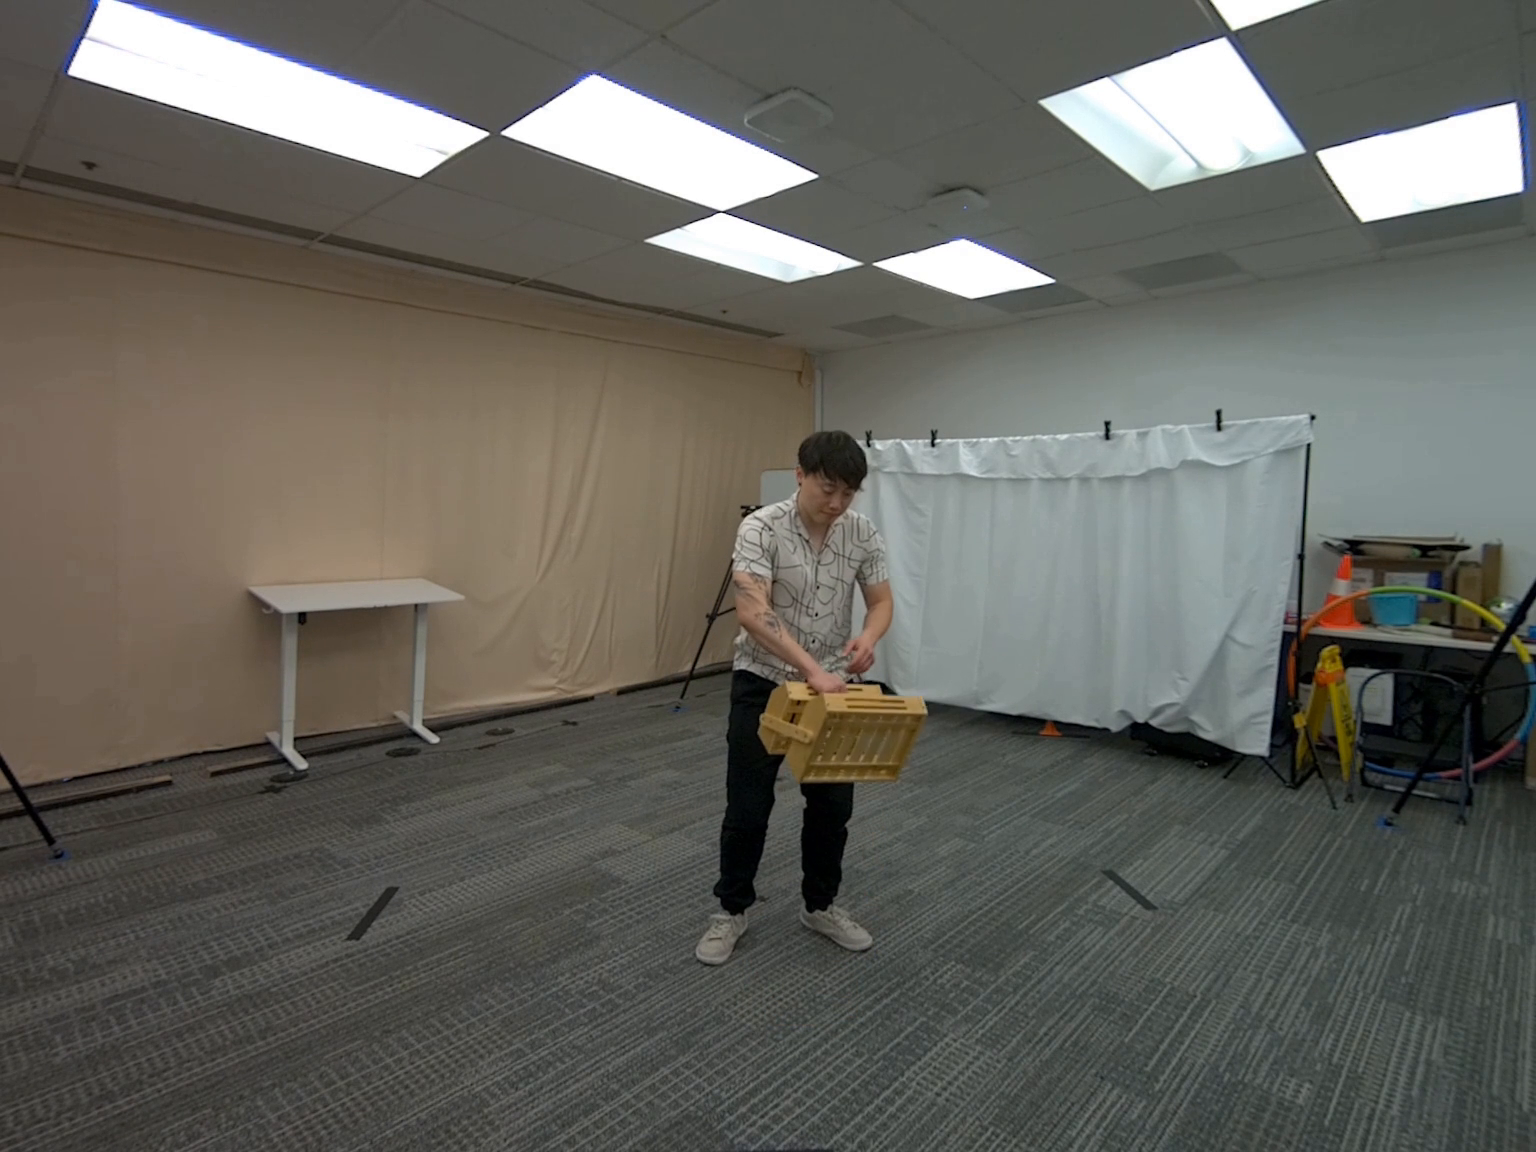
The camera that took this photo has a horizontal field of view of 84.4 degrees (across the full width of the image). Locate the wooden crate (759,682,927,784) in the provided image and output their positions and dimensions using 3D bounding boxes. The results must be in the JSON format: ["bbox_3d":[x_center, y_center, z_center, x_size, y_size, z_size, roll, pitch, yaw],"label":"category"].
[{"bbox_3d":[0.194,0.388,2.274,0.316,0.300,0.282,6,26,-25],"label":"wooden crate"}]
